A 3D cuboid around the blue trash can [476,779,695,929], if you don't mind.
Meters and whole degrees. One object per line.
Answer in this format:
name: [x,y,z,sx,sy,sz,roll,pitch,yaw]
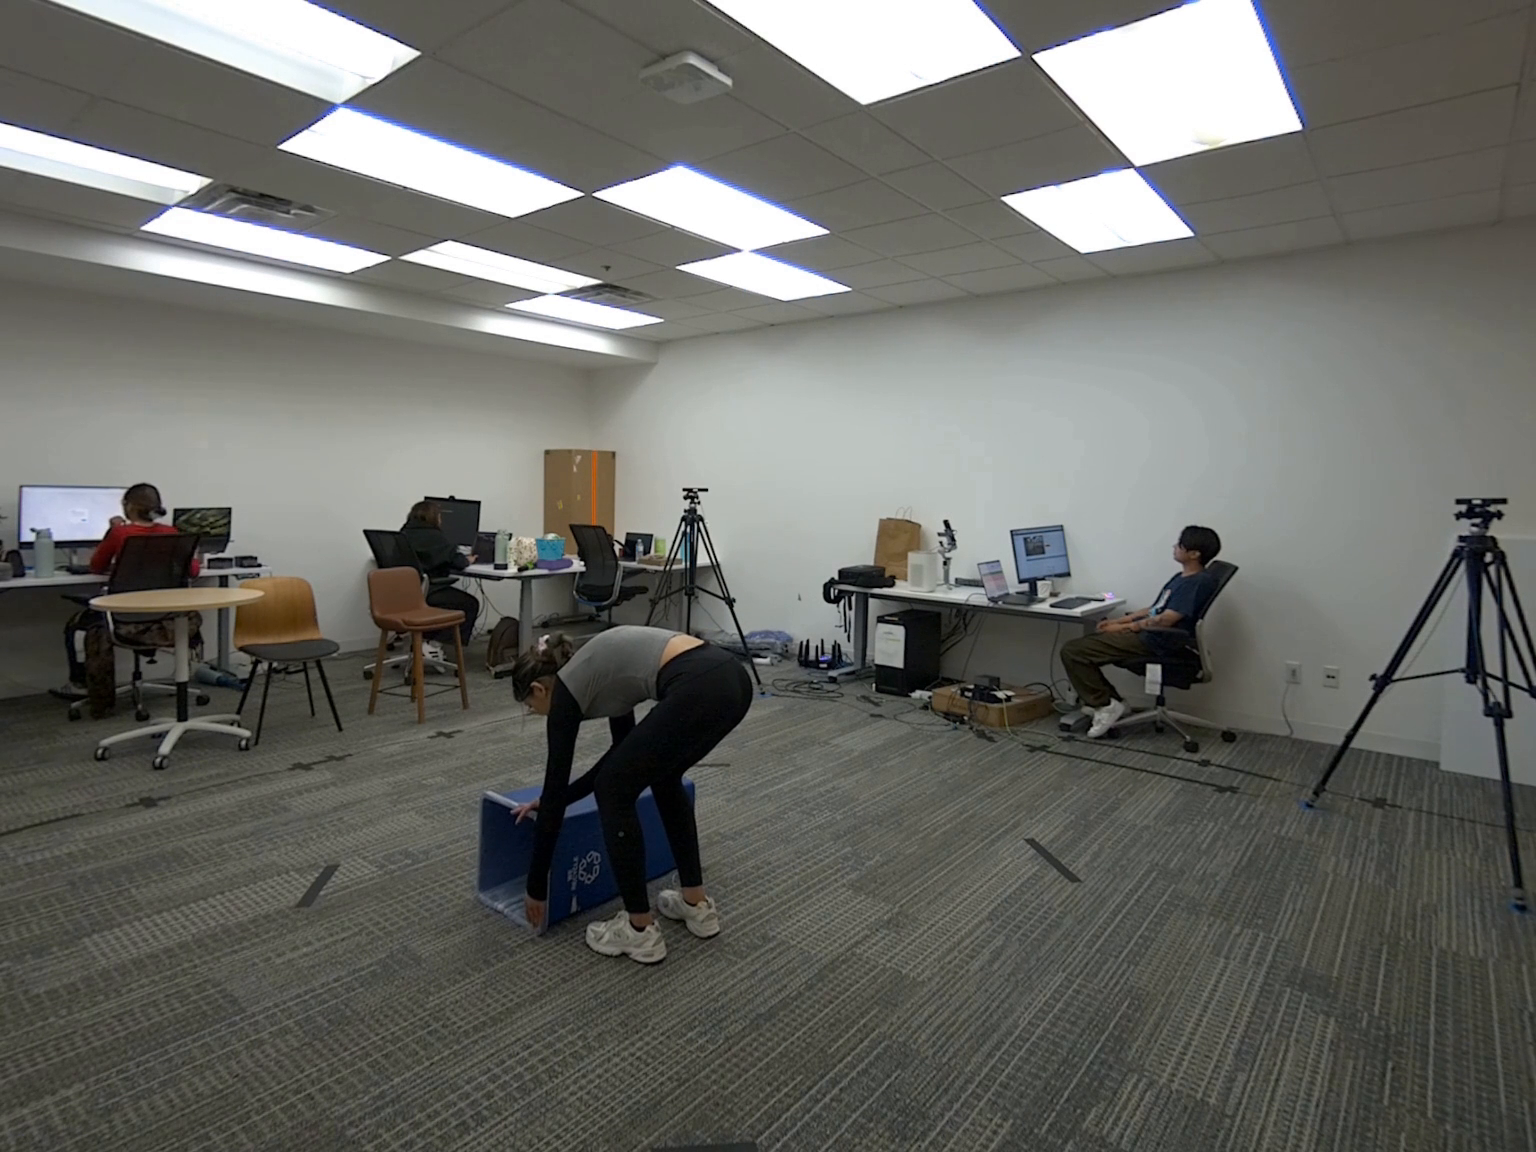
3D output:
blue trash can: [-0.627,0.899,3.001,0.390,0.373,0.691,3,3,40]
